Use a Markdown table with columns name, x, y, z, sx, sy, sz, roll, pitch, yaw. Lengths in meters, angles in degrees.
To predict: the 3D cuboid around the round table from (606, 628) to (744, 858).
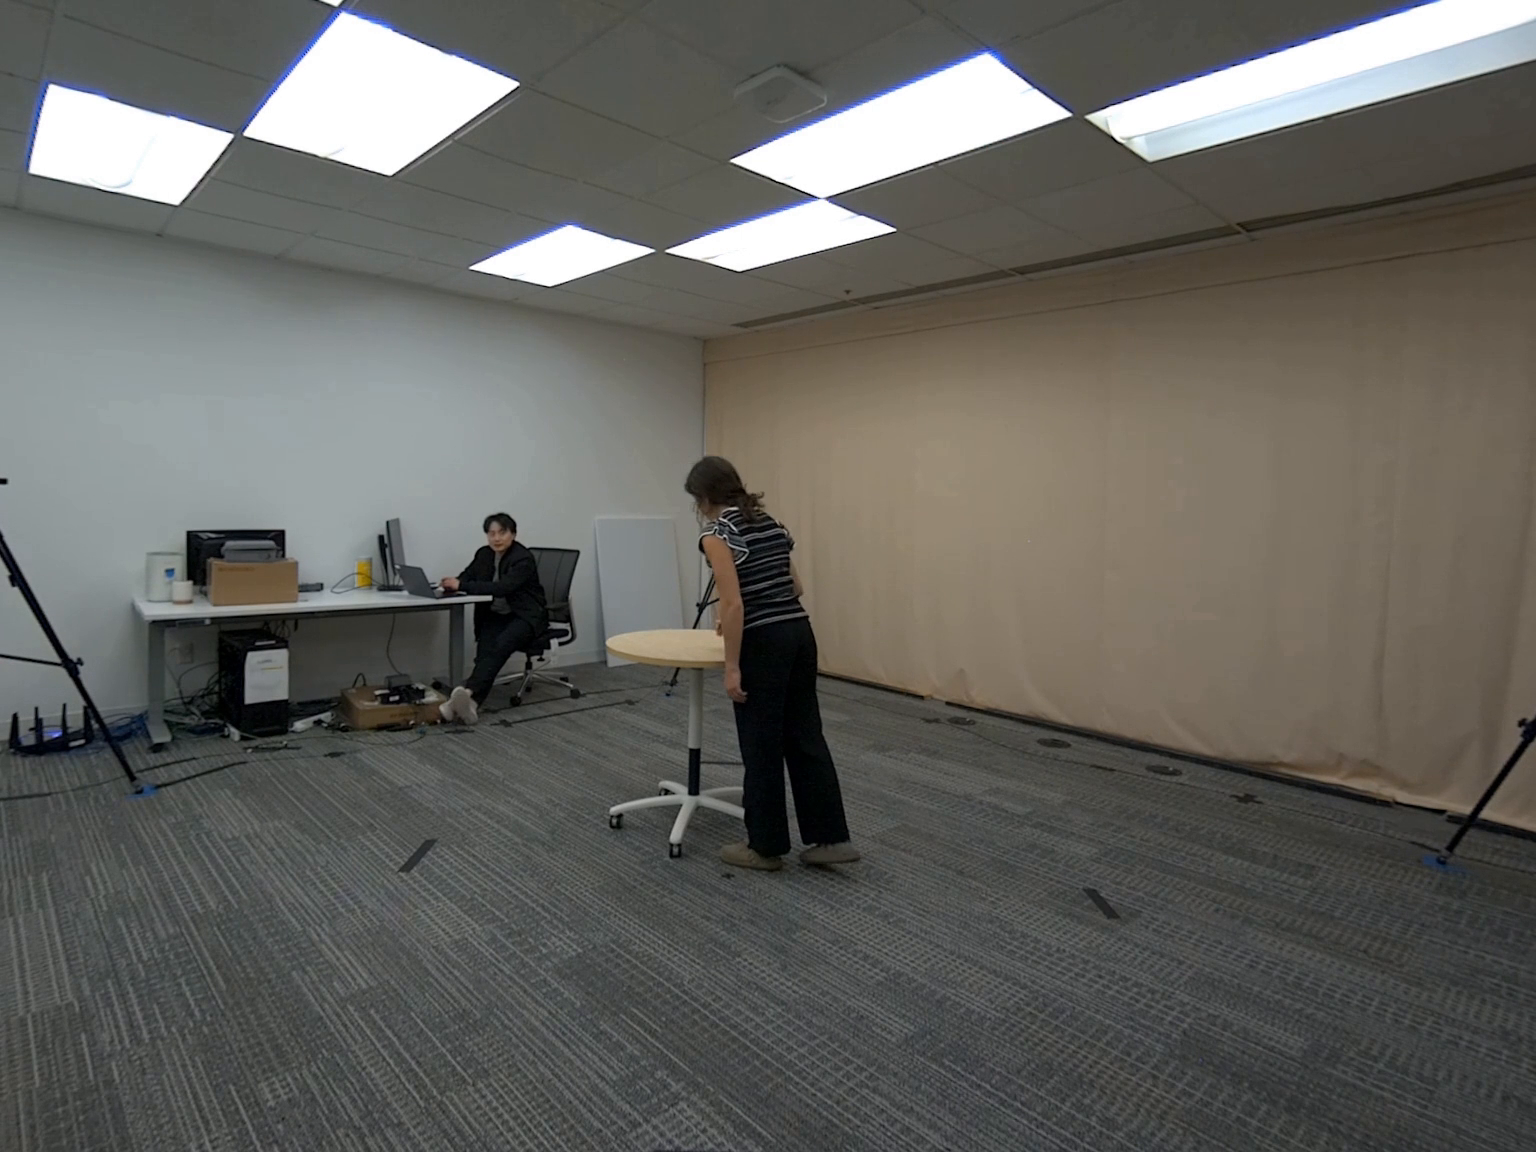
| name | x | y | z | sx | sy | sz | roll | pitch | yaw |
| --- | --- | --- | --- | --- | --- | --- | --- | --- | --- |
| round table | -0.321 | 0.676 | 3.550 | 0.763 | 0.792 | 0.766 | 2 | 4 | -1 |
